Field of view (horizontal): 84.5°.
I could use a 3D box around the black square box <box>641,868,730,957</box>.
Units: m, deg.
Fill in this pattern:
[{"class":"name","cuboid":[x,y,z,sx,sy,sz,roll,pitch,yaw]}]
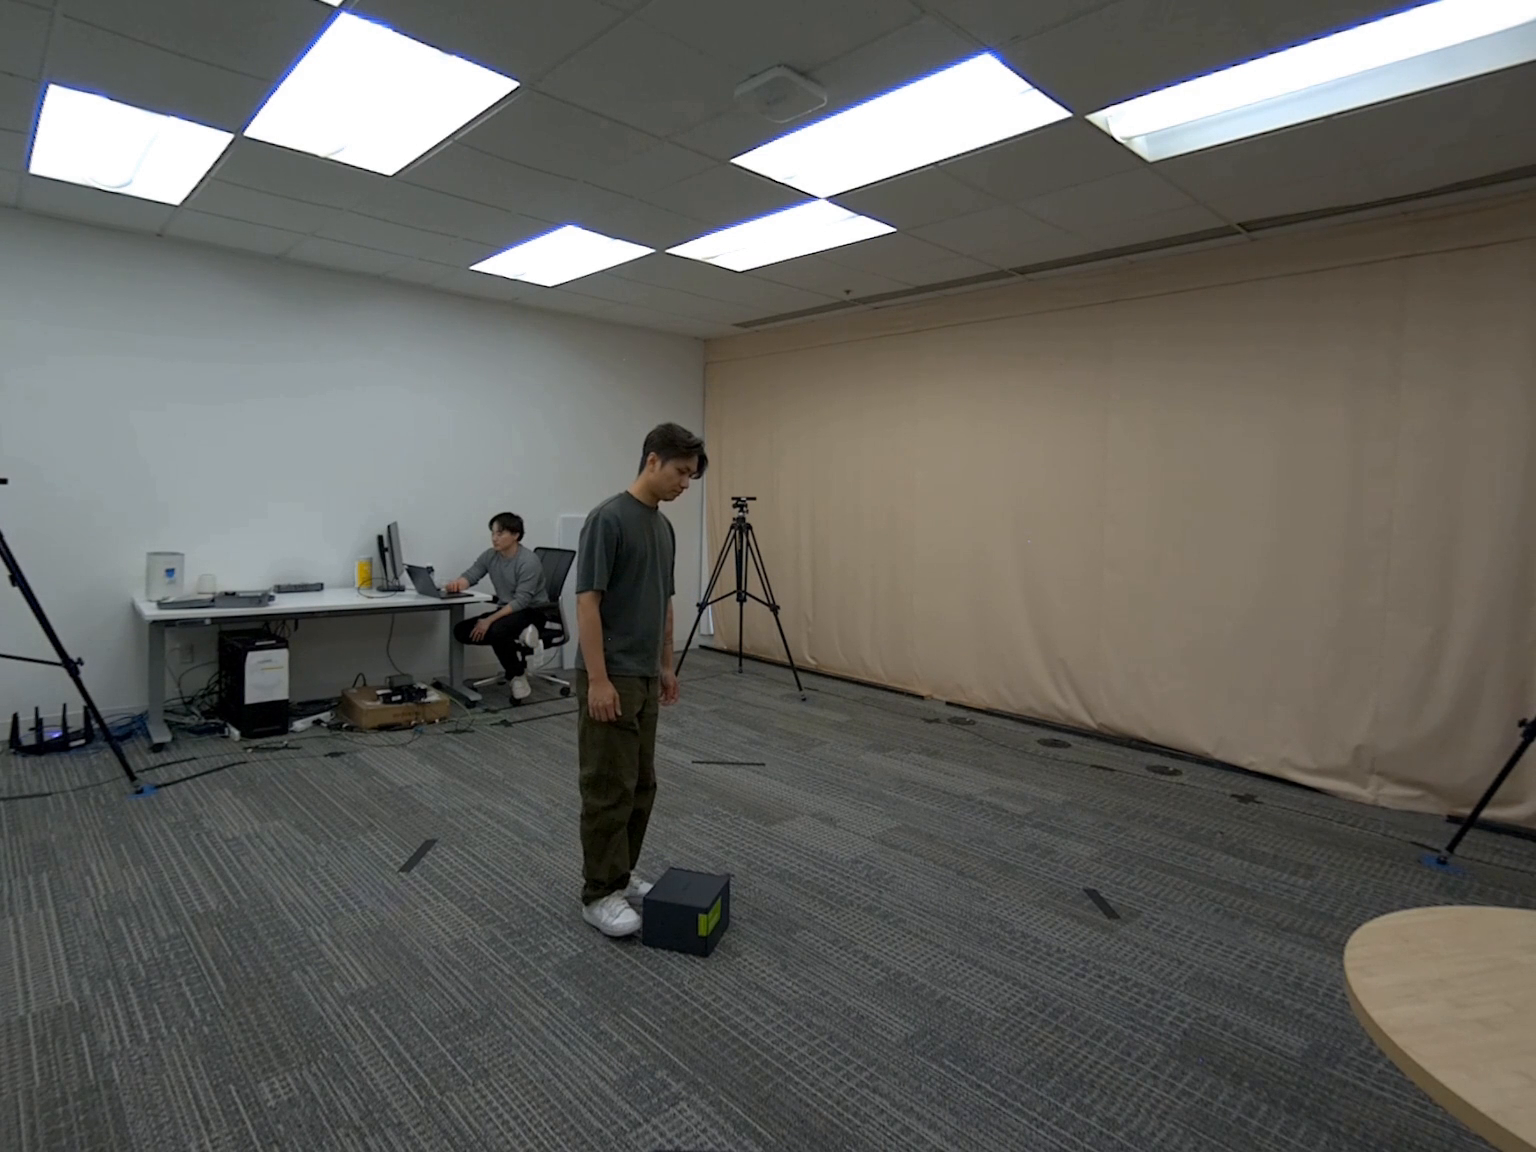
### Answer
[{"class":"black square box","cuboid":[-0.255,1.057,2.670,0.220,0.155,0.226,3,4,14]}]
